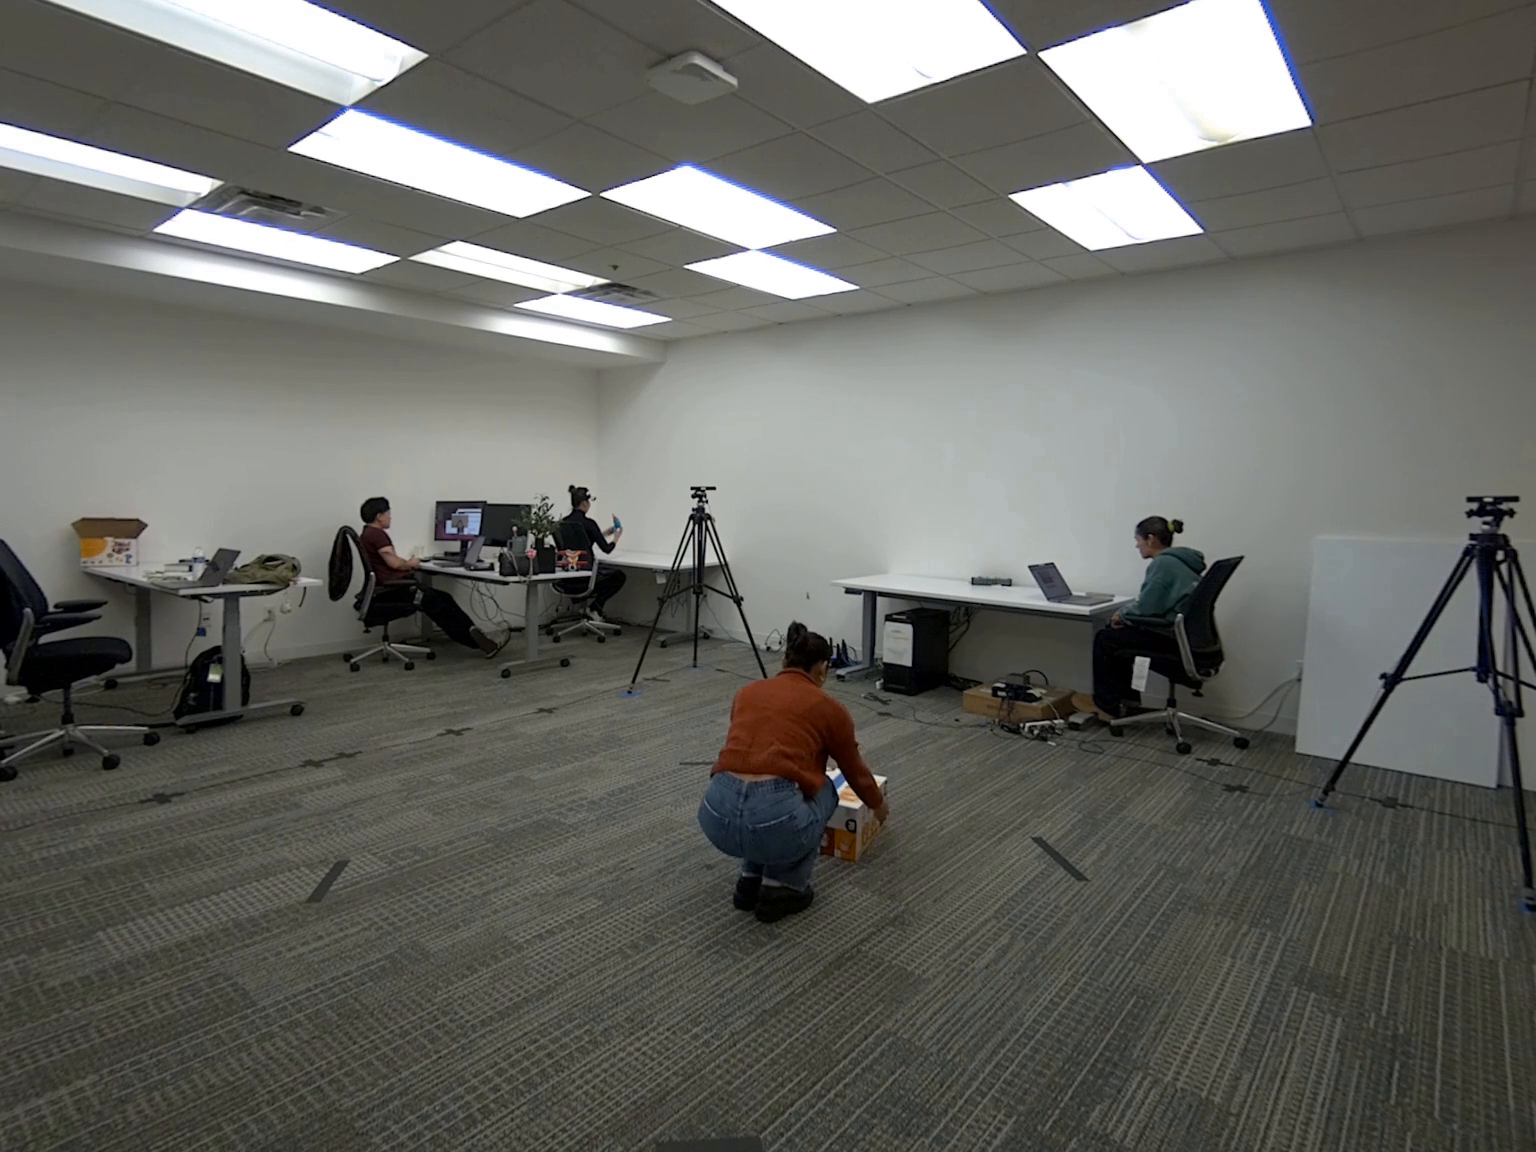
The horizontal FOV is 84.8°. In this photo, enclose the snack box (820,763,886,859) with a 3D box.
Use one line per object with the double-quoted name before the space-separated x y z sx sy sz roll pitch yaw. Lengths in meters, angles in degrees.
"snack box" 0.252 0.936 3.431 0.349 0.205 0.396 4 6 25
